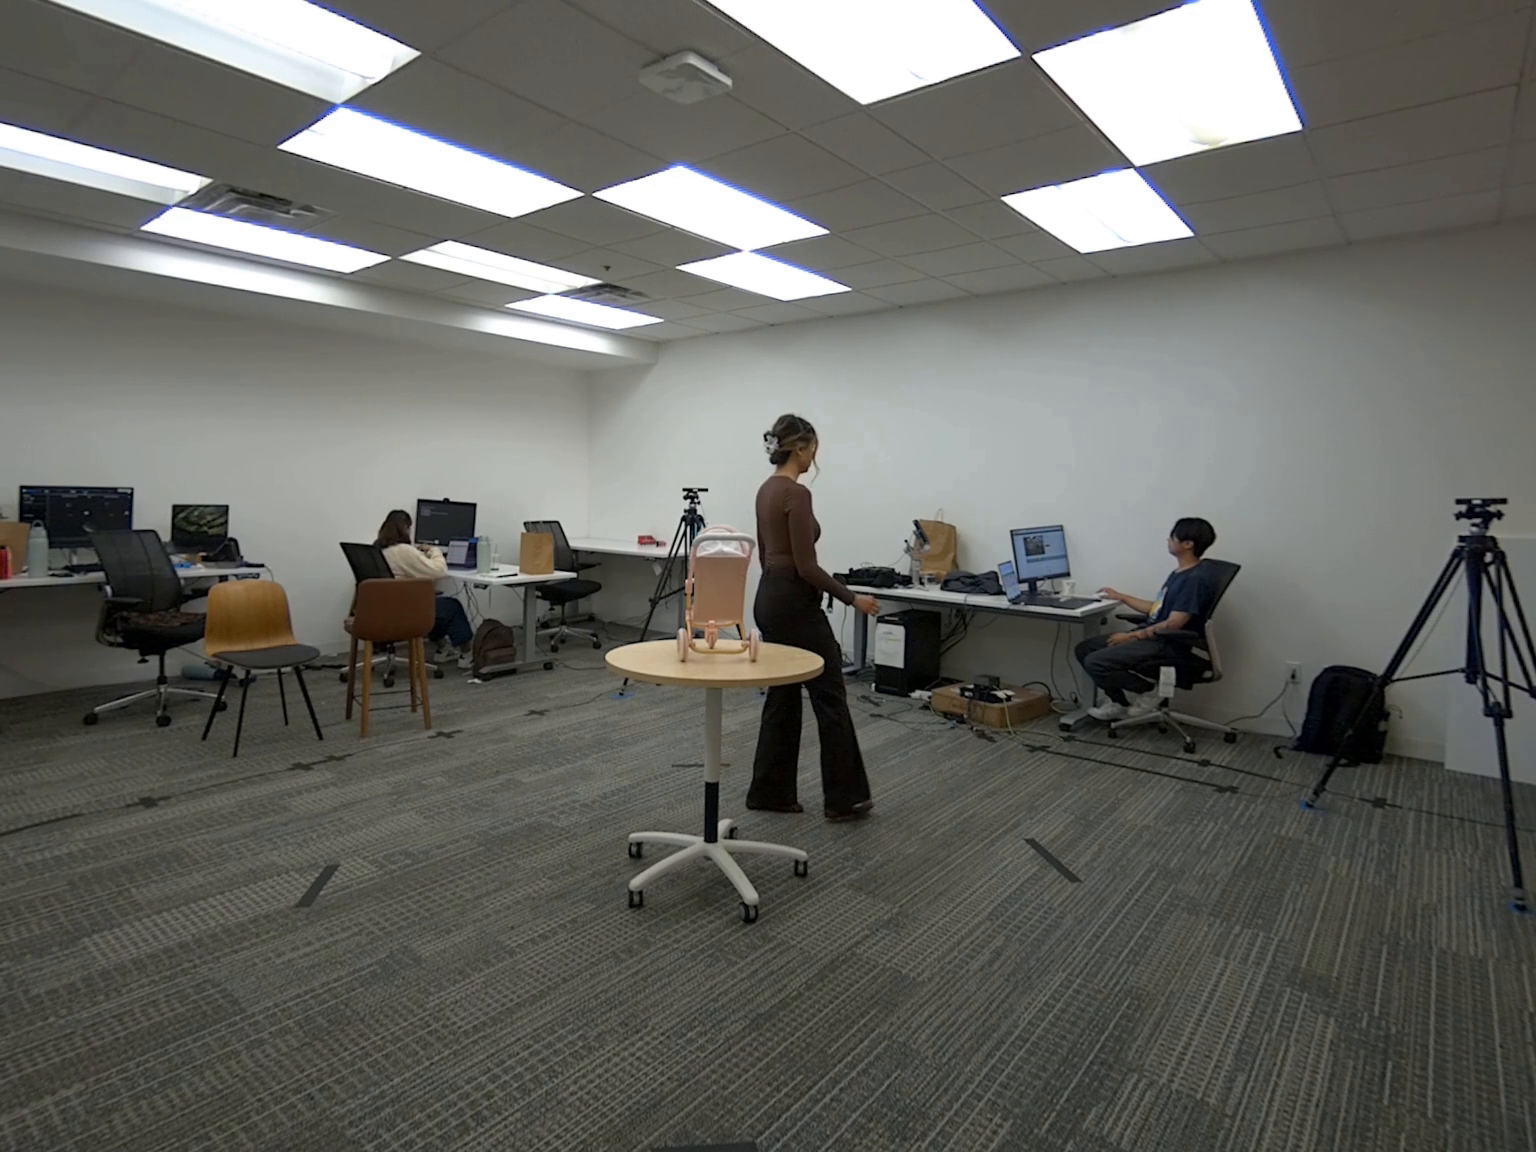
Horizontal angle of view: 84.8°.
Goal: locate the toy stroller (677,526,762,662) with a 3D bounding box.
[{"bbox_3d":[-0.186,0.058,2.987,0.280,0.527,0.348,1,17,-6],"label":"toy stroller"}]
